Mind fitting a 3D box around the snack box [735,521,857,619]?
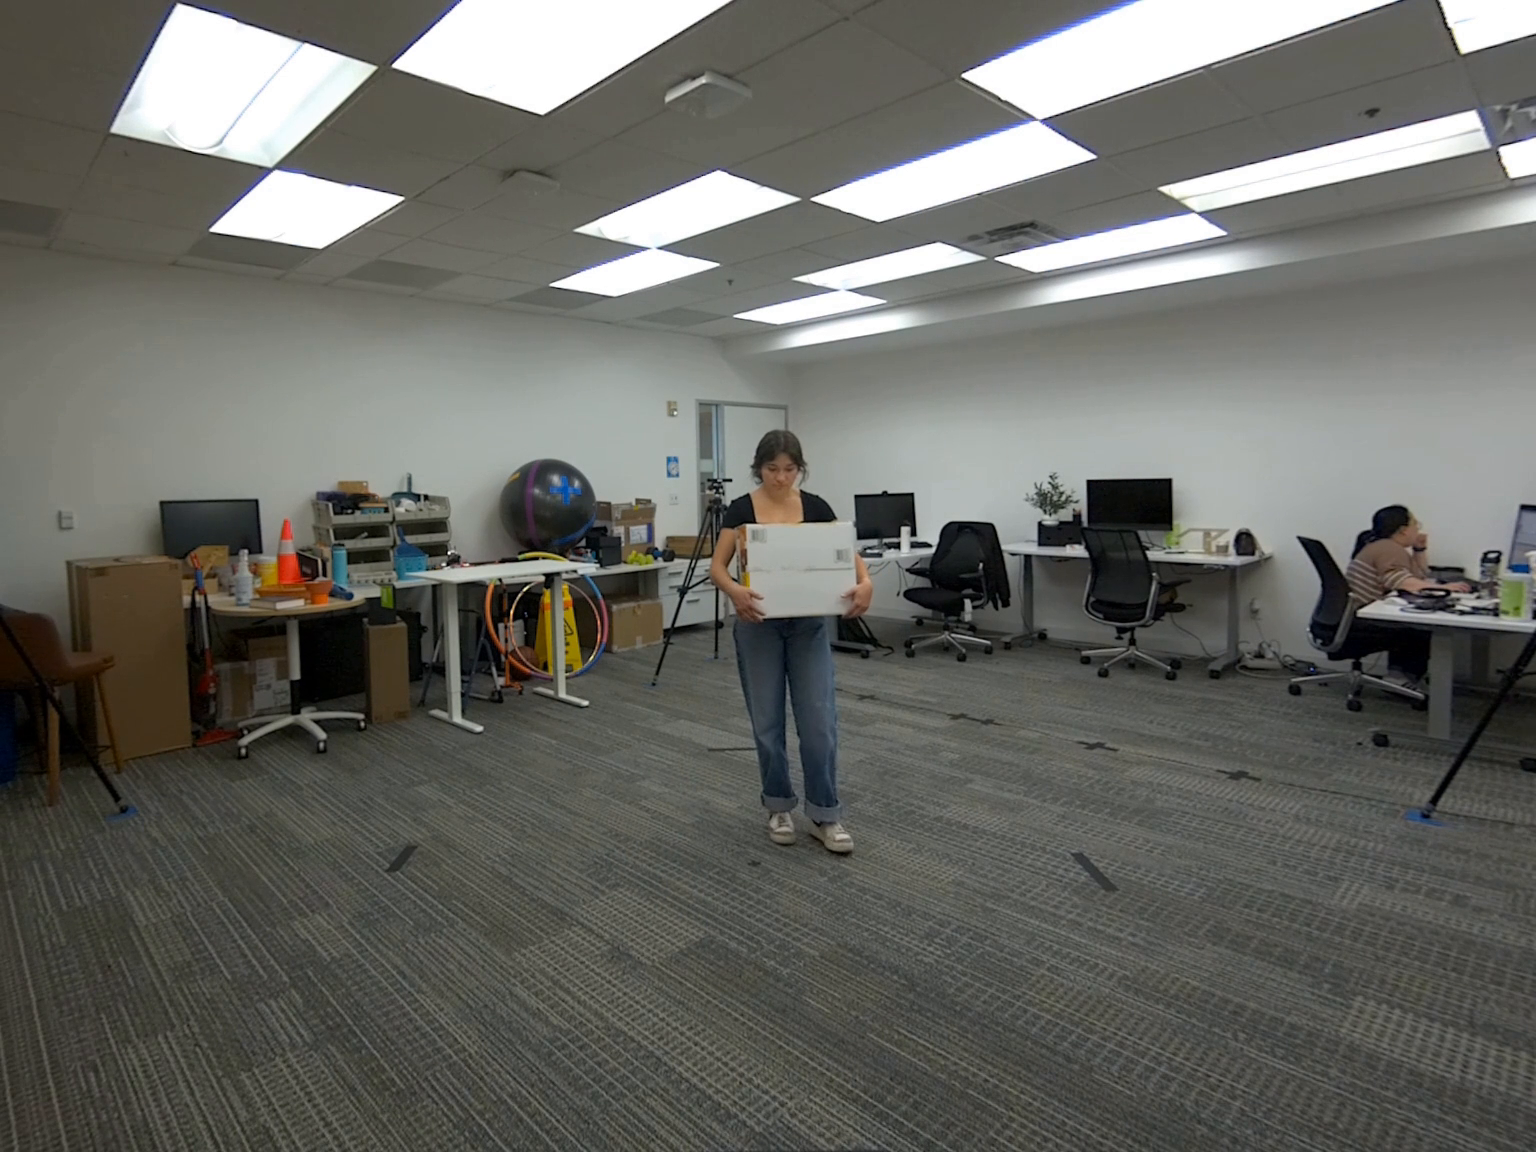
[{"bbox_3d":[0.100,-0.017,3.150,0.401,0.341,0.207,-3,-2,-10],"label":"snack box"}]
